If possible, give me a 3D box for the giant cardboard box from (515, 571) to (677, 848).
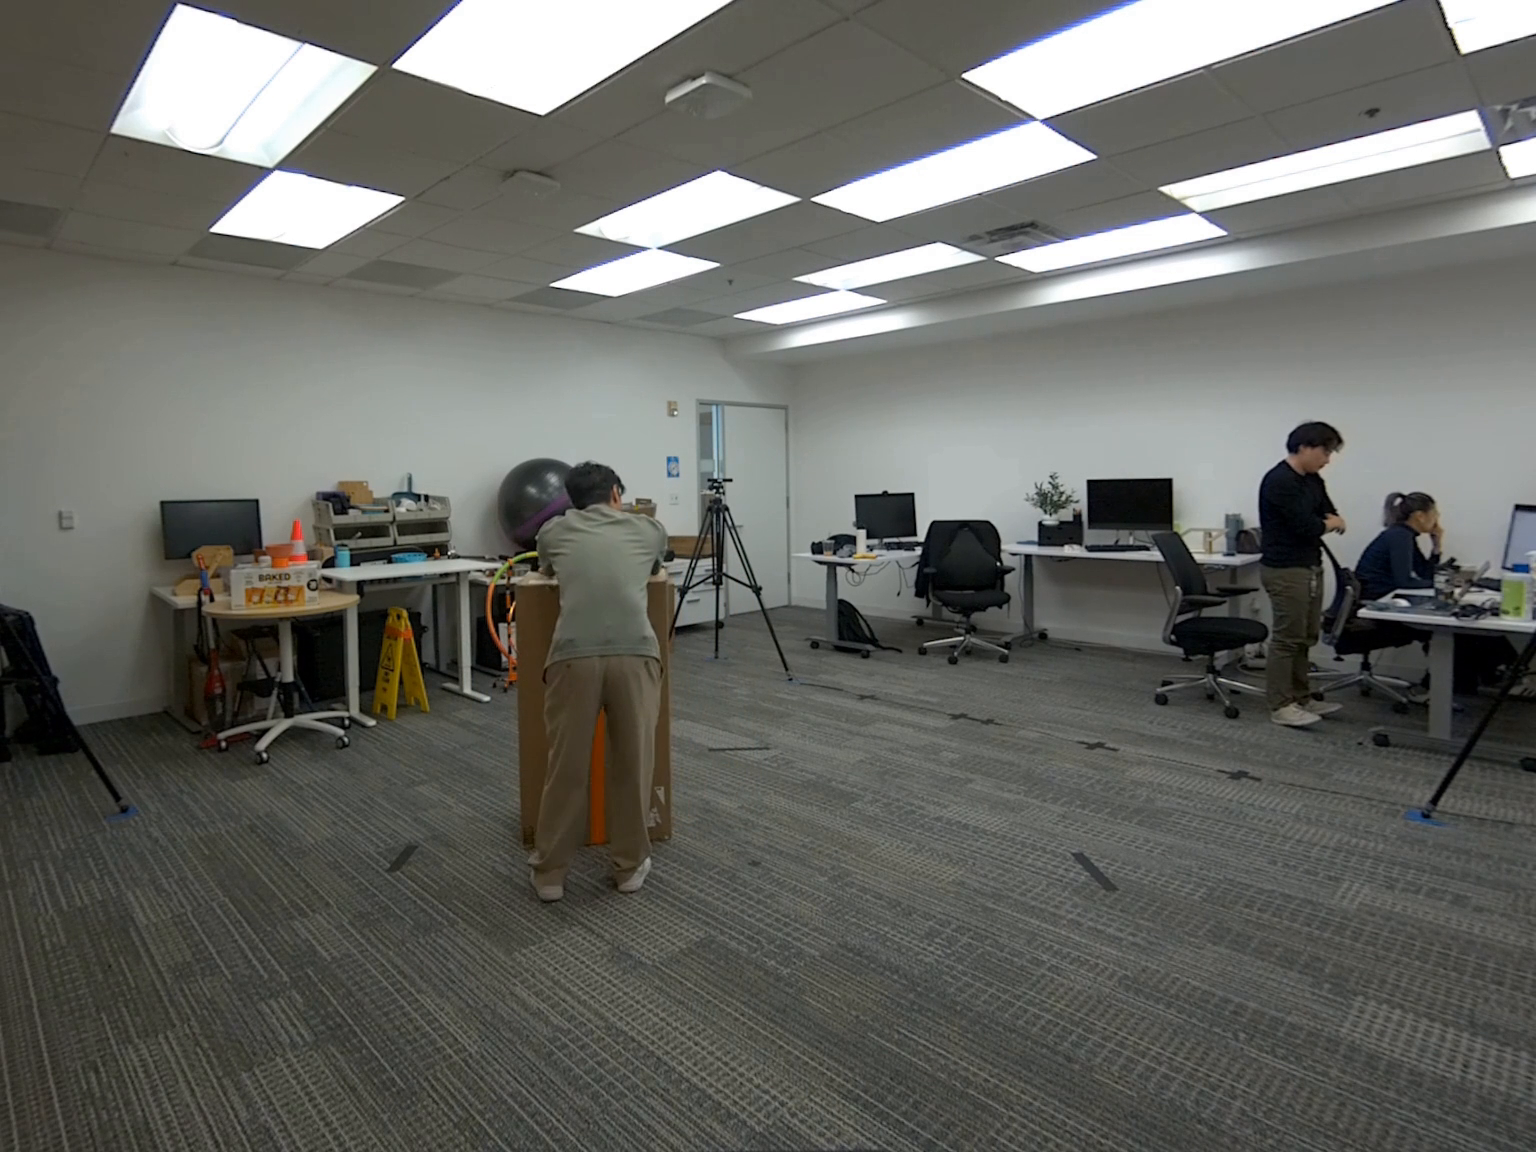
[{"bbox_3d":[-0.693,0.500,3.451,0.574,1.020,0.431,-1,6,-7],"label":"giant cardboard box"}]
